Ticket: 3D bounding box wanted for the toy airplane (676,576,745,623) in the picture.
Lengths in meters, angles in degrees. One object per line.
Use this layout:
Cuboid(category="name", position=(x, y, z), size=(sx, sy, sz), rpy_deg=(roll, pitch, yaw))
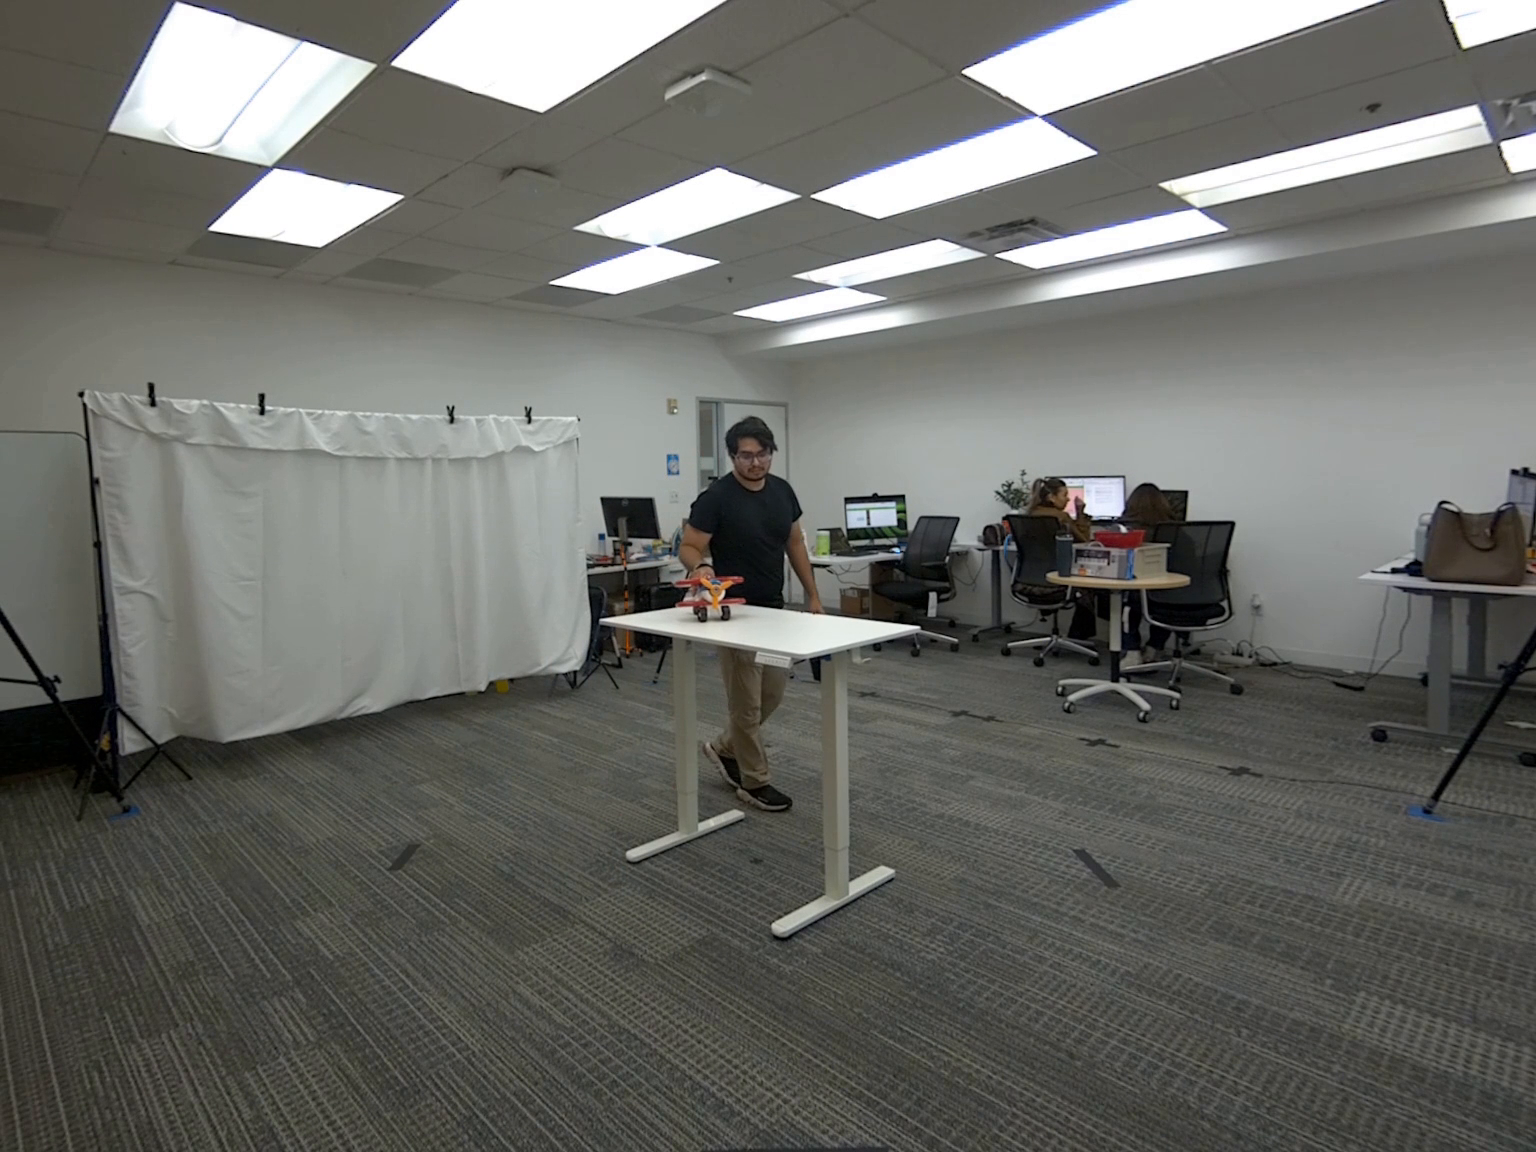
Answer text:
Cuboid(category="toy airplane", position=(-0.239, 0.080, 3.130), size=(0.244, 0.156, 0.267), rpy_deg=(-6, 7, -44))
